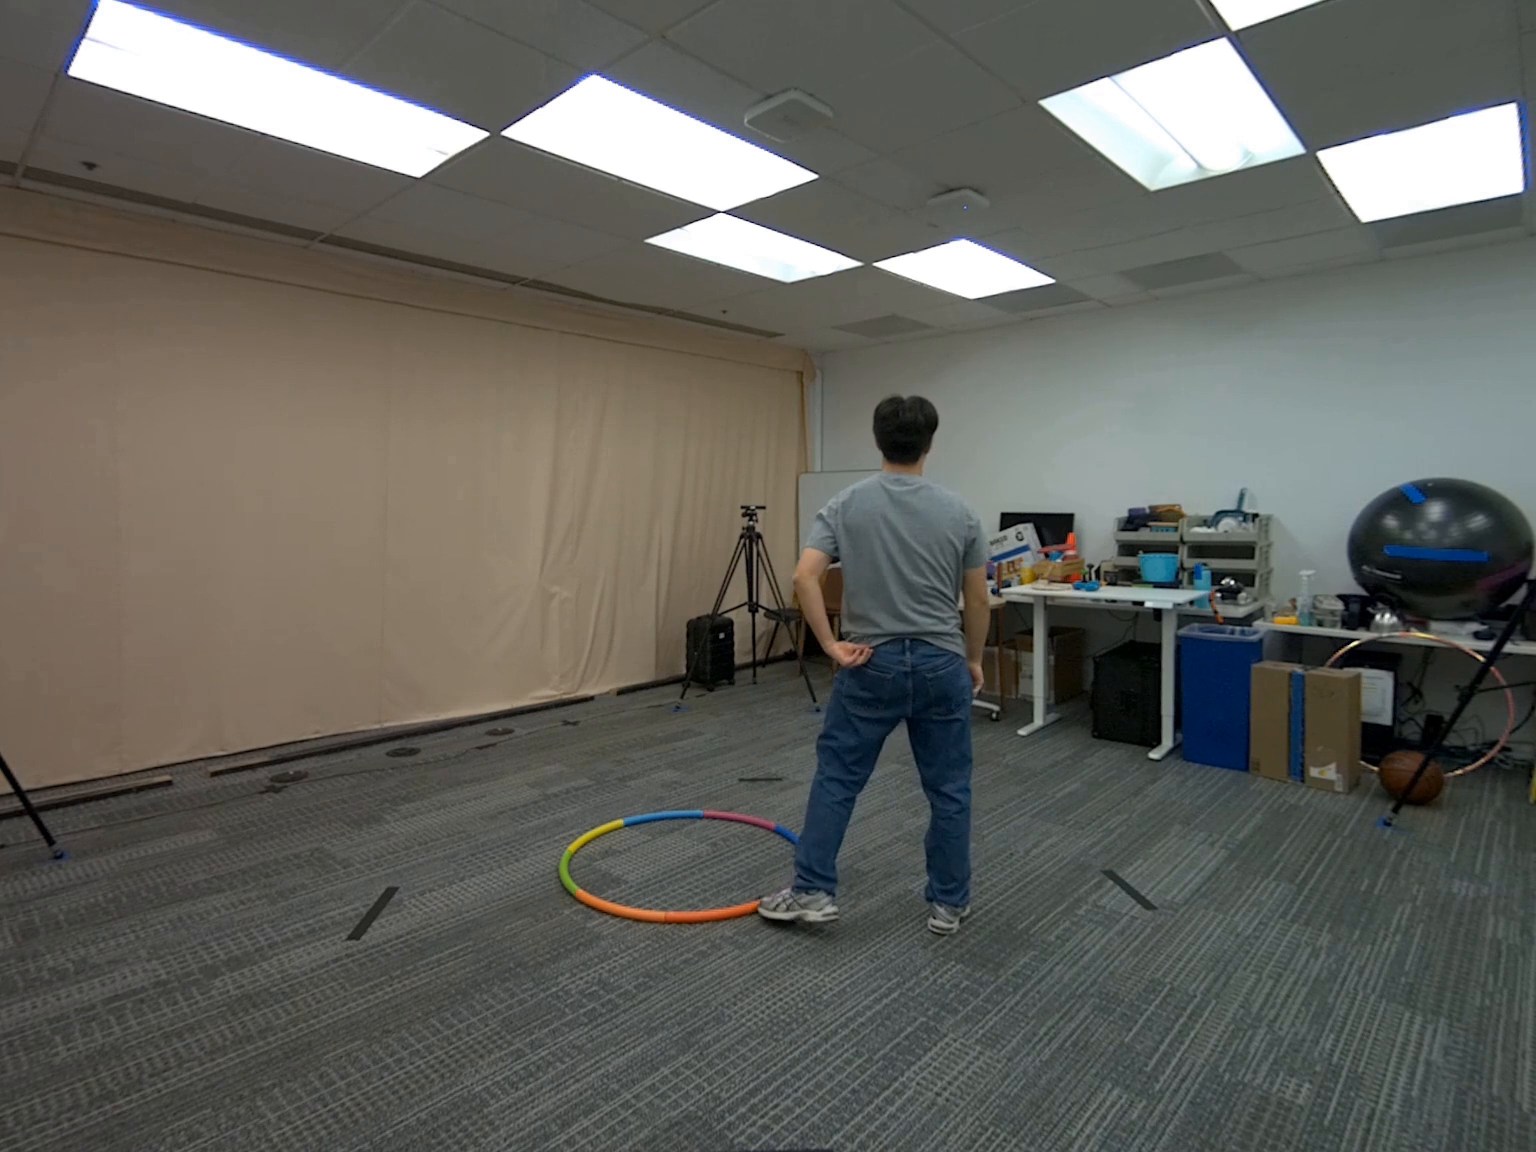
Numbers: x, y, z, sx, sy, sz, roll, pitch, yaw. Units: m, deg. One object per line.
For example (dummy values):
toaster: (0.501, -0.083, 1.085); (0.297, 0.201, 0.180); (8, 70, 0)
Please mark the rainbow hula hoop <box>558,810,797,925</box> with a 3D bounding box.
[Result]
rainbow hula hoop: (-0.311, 1.093, 3.289); (0.978, 0.035, 0.982); (0, 5, -2)
